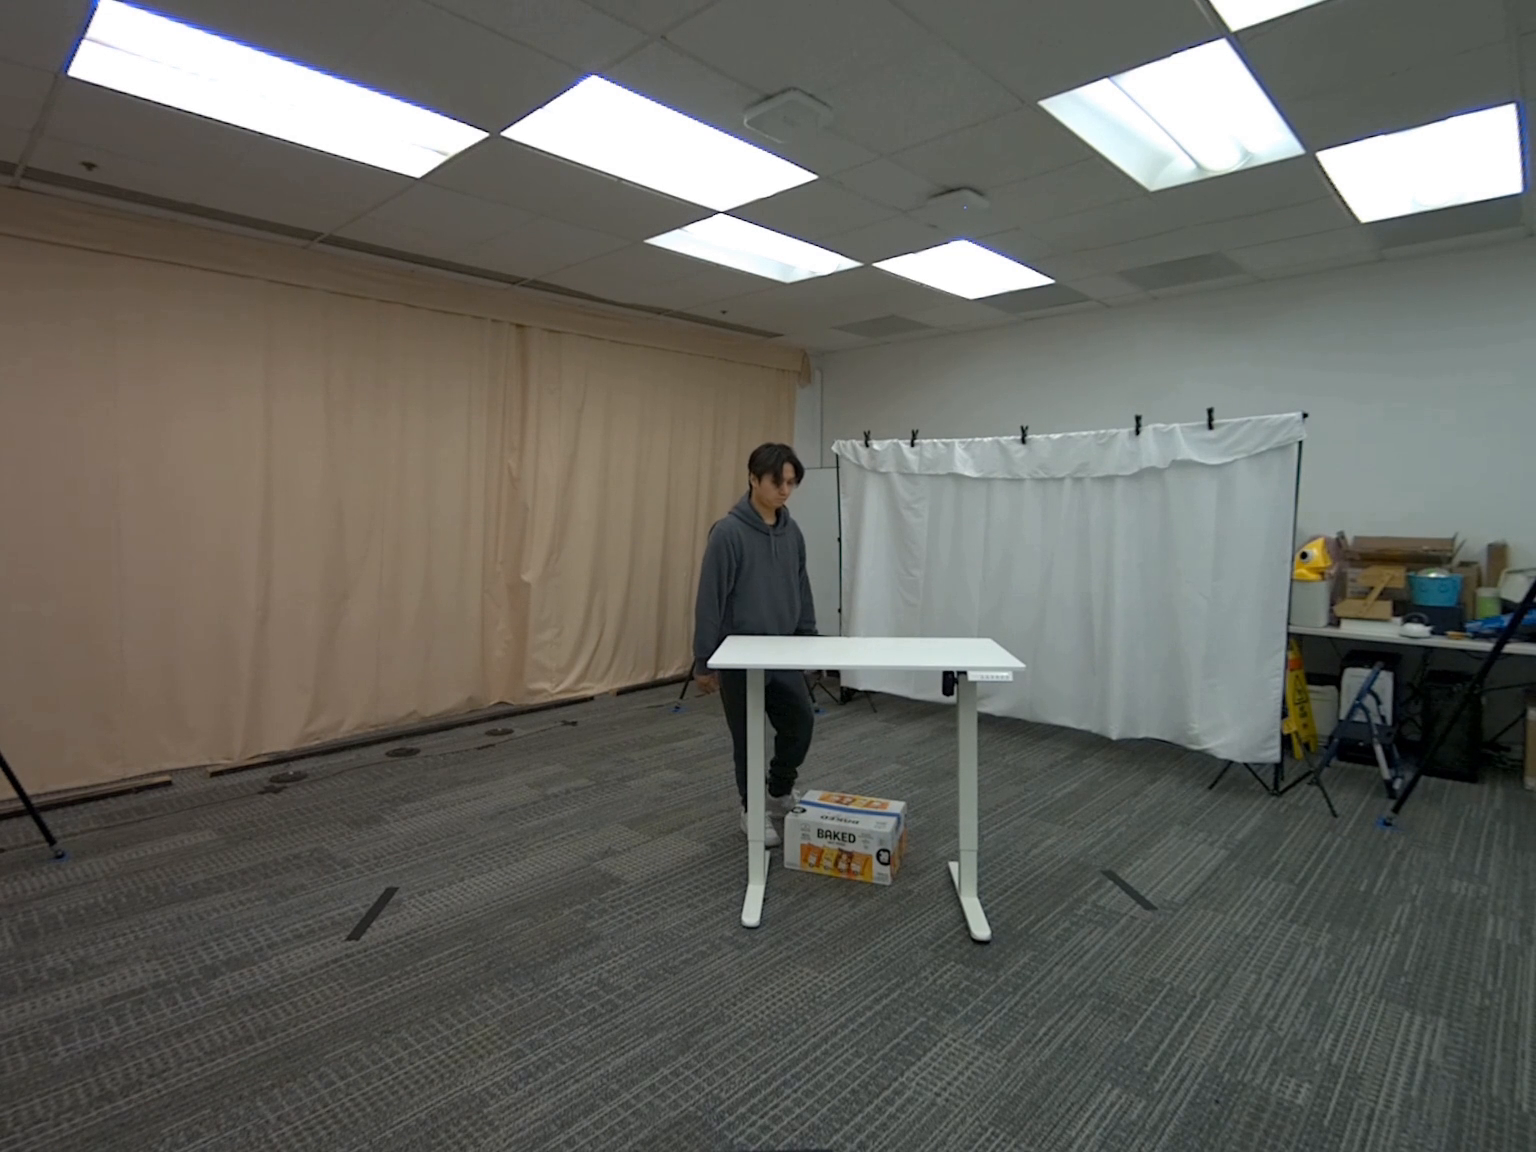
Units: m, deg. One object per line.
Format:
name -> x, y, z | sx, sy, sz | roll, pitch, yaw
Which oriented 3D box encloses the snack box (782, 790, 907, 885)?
snack box -> 0.315, 1.014, 3.300 | 0.414, 0.205, 0.334 | 2, 4, 20
